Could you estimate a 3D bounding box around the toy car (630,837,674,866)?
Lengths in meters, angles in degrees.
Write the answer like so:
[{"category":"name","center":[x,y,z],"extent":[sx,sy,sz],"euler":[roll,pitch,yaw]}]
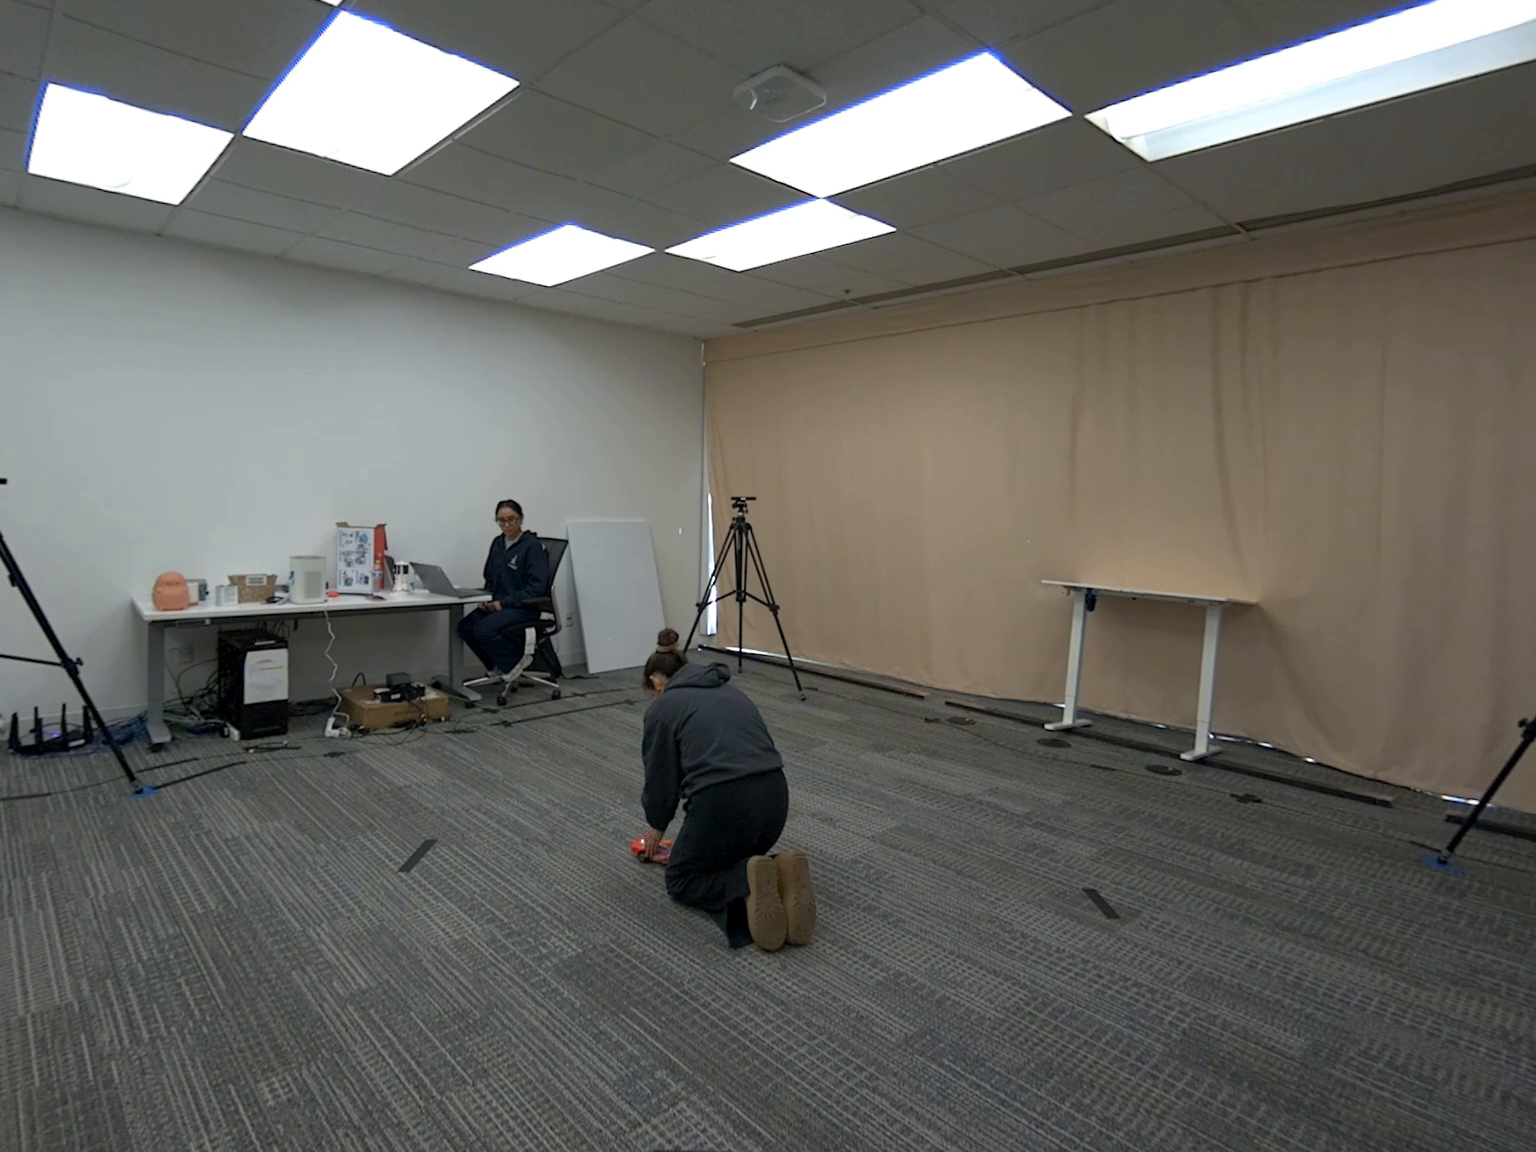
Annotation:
[{"category":"toy car","center":[-0.420,1.059,3.234],"extent":[0.260,0.083,0.128],"euler":[18,12,23]}]
